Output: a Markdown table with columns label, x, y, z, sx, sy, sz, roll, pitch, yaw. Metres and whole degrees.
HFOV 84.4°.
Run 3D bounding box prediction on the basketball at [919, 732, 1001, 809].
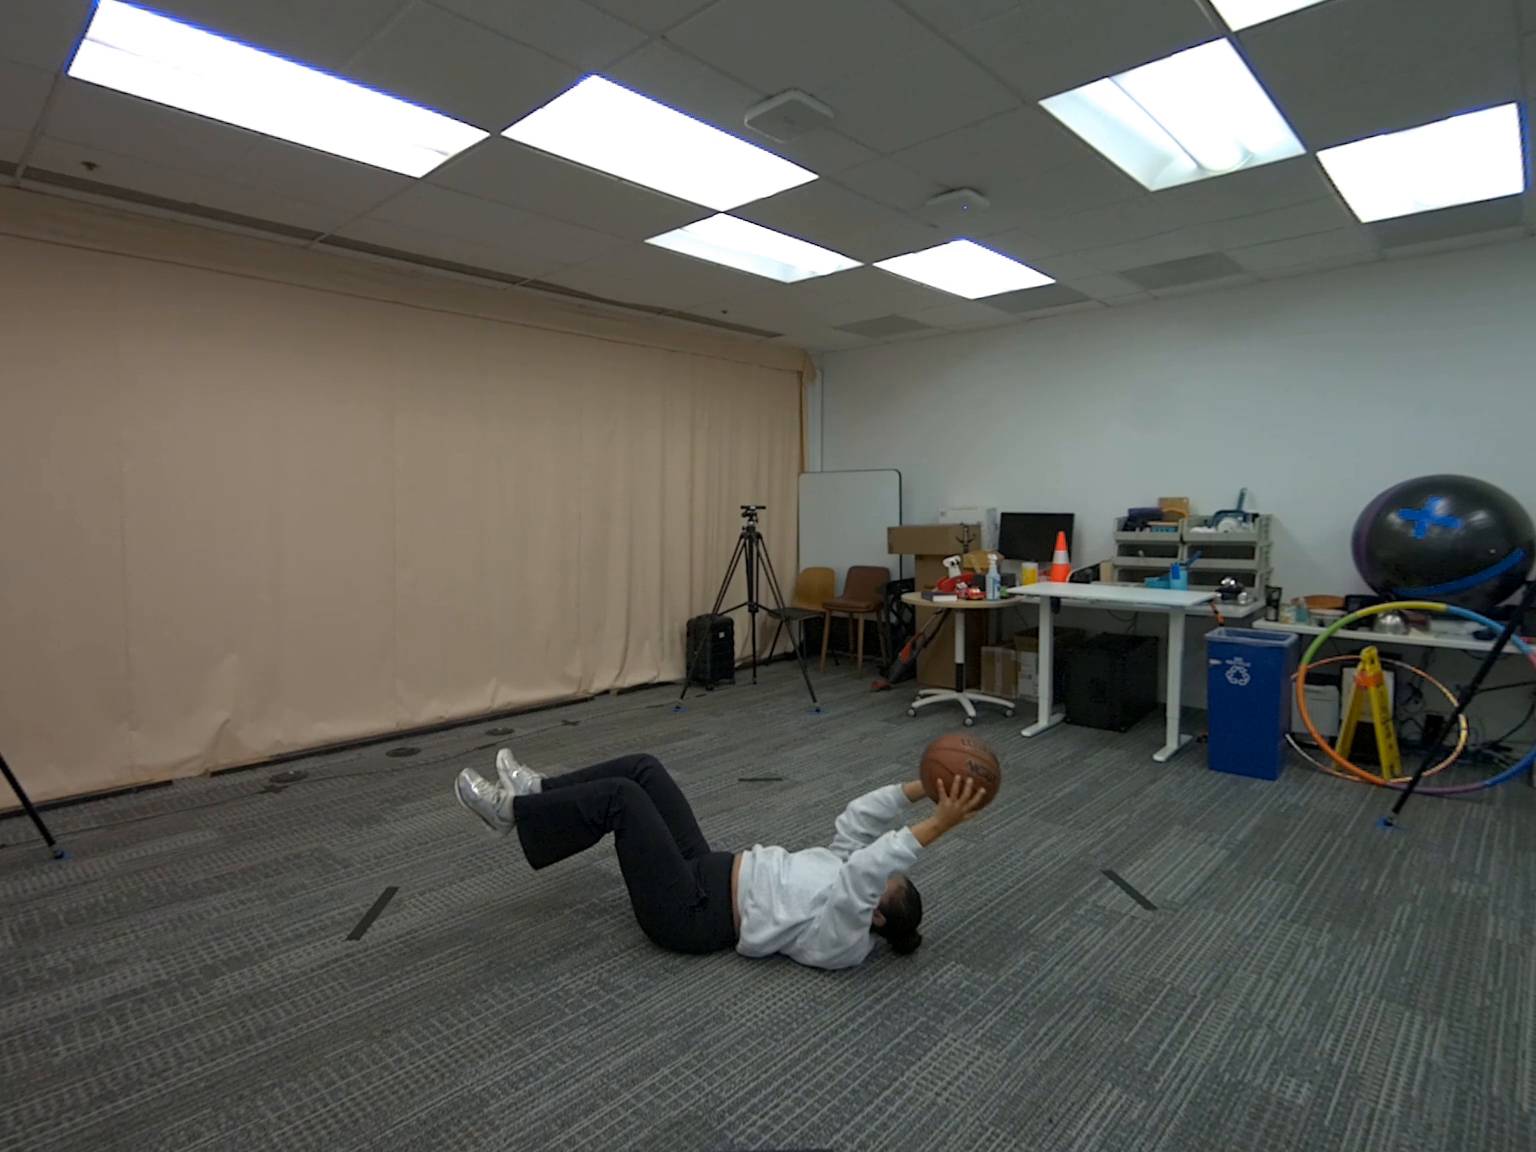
| label | x | y | z | sx | sy | sz | roll | pitch | yaw |
| --- | --- | --- | --- | --- | --- | --- | --- | --- | --- |
| basketball | 0.579 | 0.609 | 2.557 | 0.235 | 0.235 | 0.237 | 1 | 4 | -2 |
